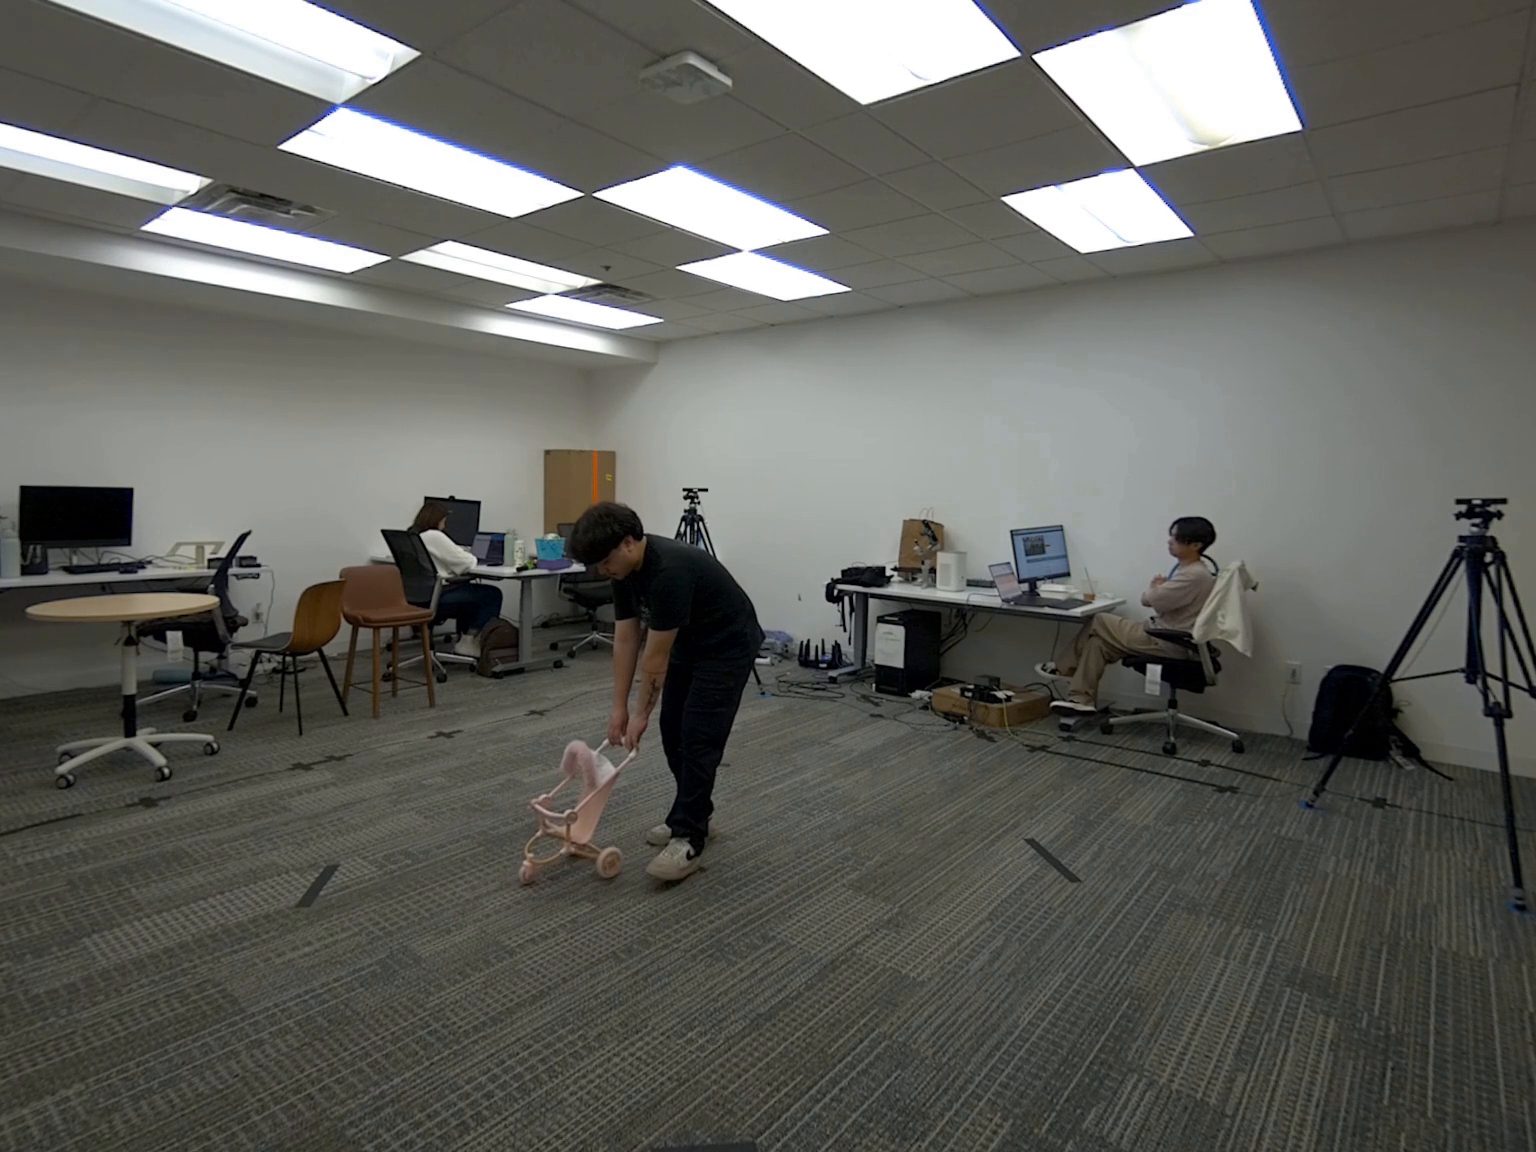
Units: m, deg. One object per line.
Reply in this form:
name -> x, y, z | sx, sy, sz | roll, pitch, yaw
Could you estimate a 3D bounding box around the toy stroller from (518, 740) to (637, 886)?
toy stroller -> -0.704, 0.836, 3.075 | 0.329, 0.537, 0.290 | 16, -7, -36
